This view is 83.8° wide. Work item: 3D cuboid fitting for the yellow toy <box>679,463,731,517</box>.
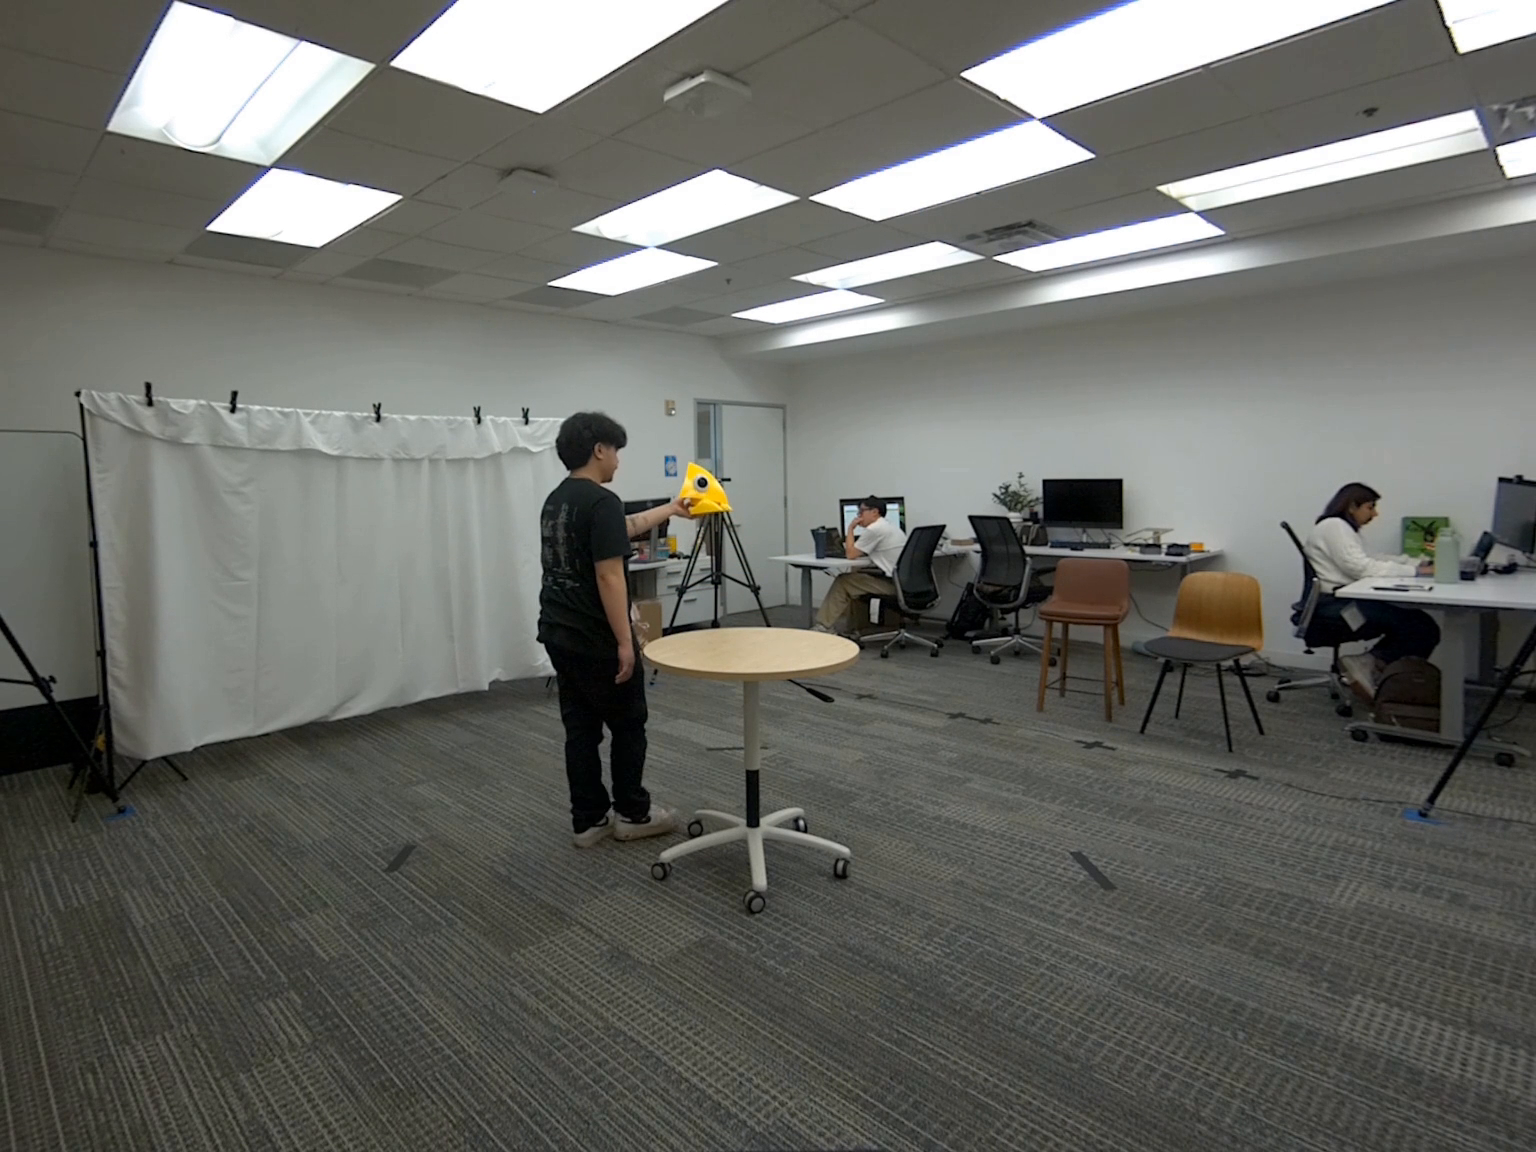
[{"bbox_3d":[-0.273,-0.391,3.713,0.196,0.231,0.202,-7,1,17],"label":"yellow toy"}]
